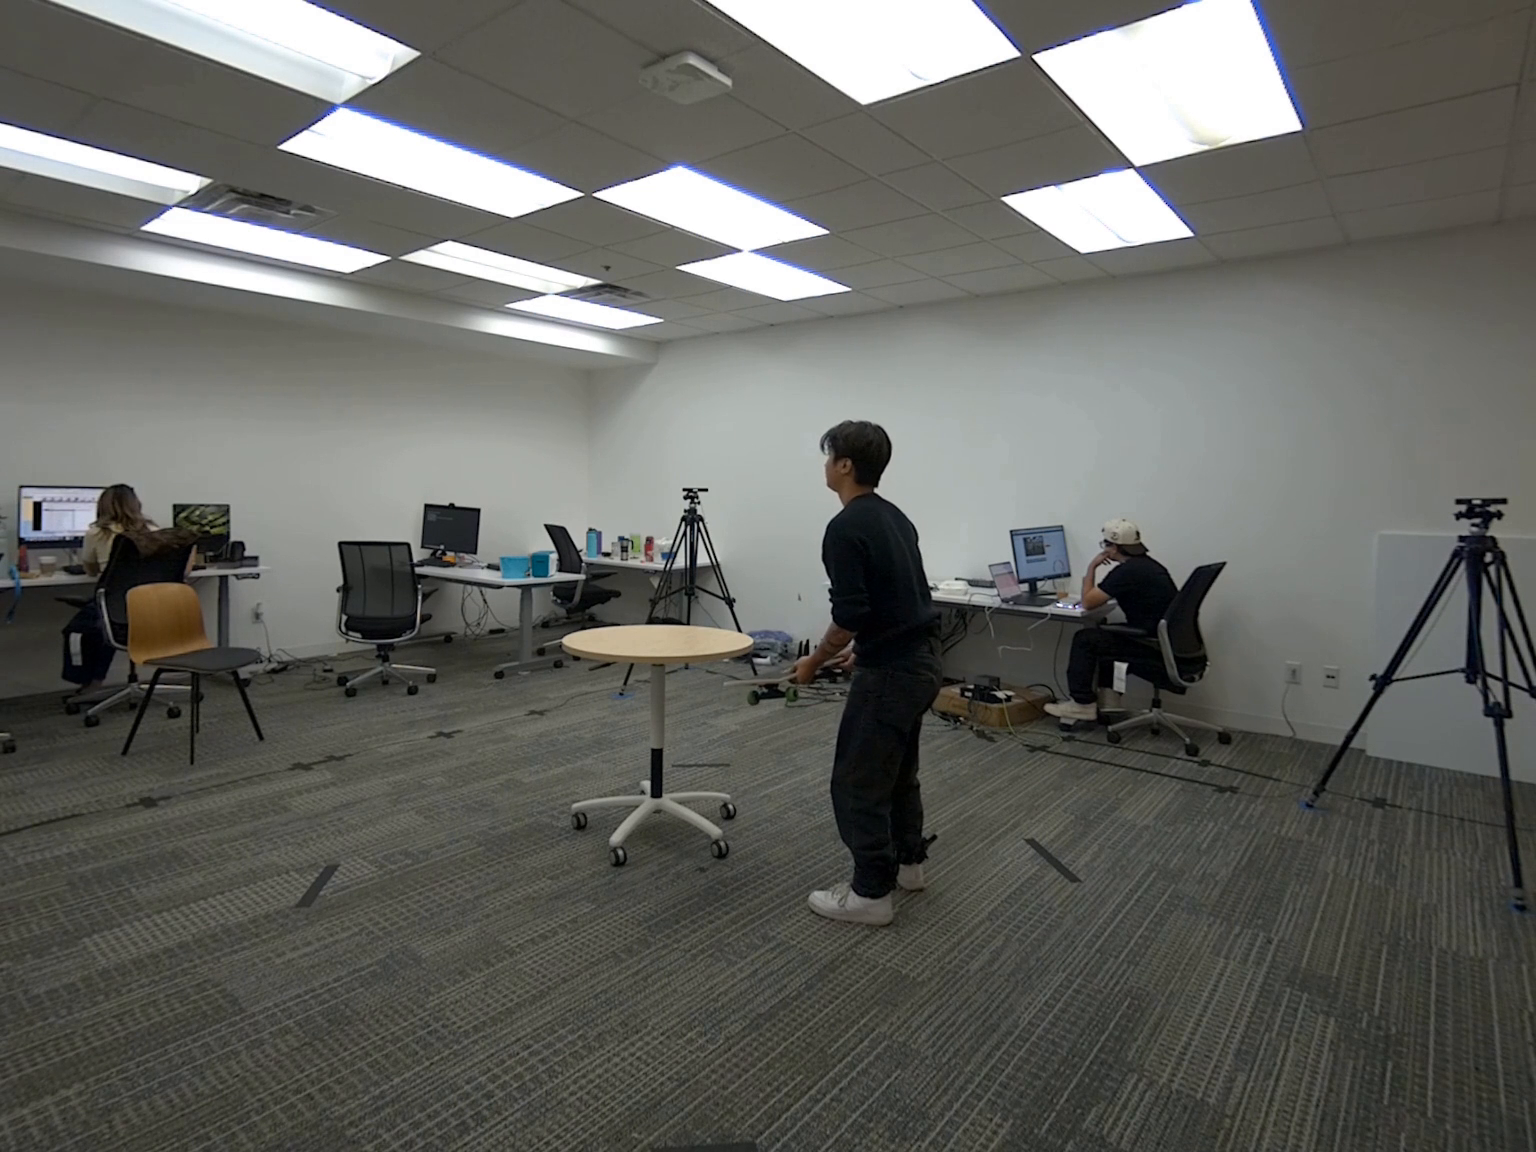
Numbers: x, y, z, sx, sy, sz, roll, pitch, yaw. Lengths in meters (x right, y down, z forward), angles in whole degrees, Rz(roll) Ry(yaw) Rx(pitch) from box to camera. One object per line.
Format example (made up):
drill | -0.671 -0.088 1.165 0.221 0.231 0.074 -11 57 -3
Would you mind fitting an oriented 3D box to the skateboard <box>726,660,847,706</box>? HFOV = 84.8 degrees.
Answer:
skateboard | 0.098 0.355 3.009 0.198 0.111 0.764 -11 -2 33
